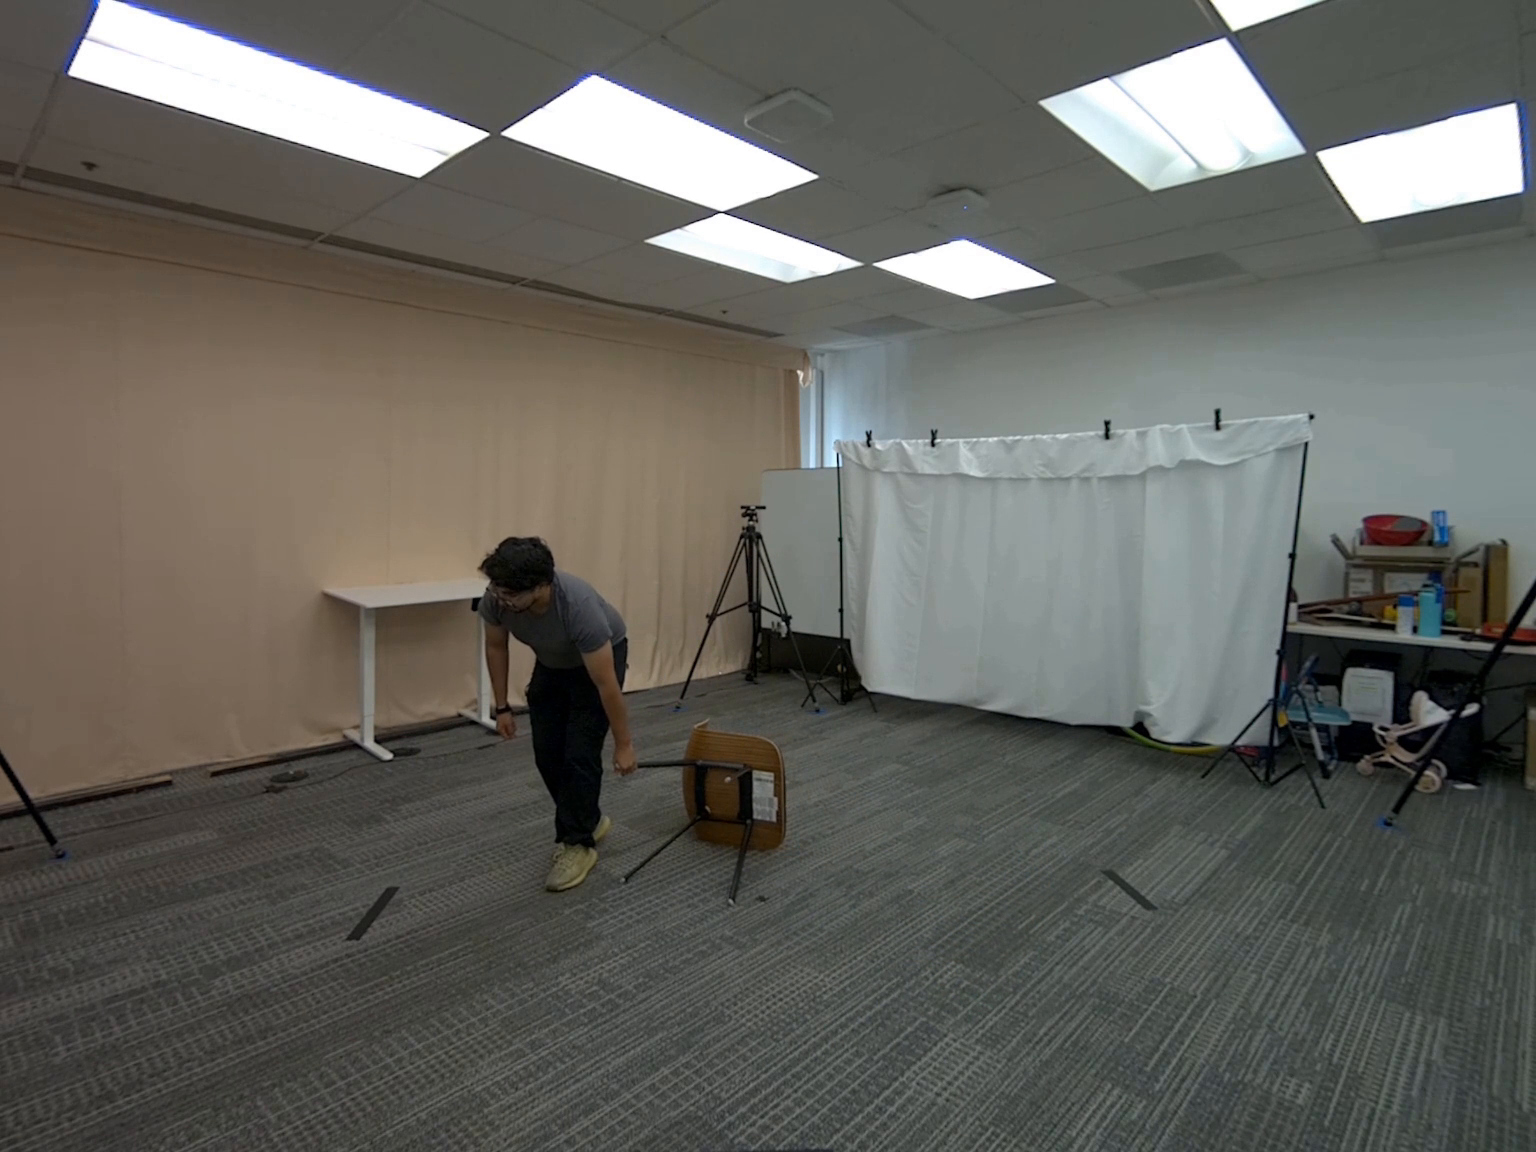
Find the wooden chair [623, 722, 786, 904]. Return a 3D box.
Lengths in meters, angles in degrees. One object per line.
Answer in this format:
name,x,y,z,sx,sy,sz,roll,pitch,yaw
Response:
wooden chair,-0.182,0.875,3.395,0.534,0.477,0.862,0,4,18
